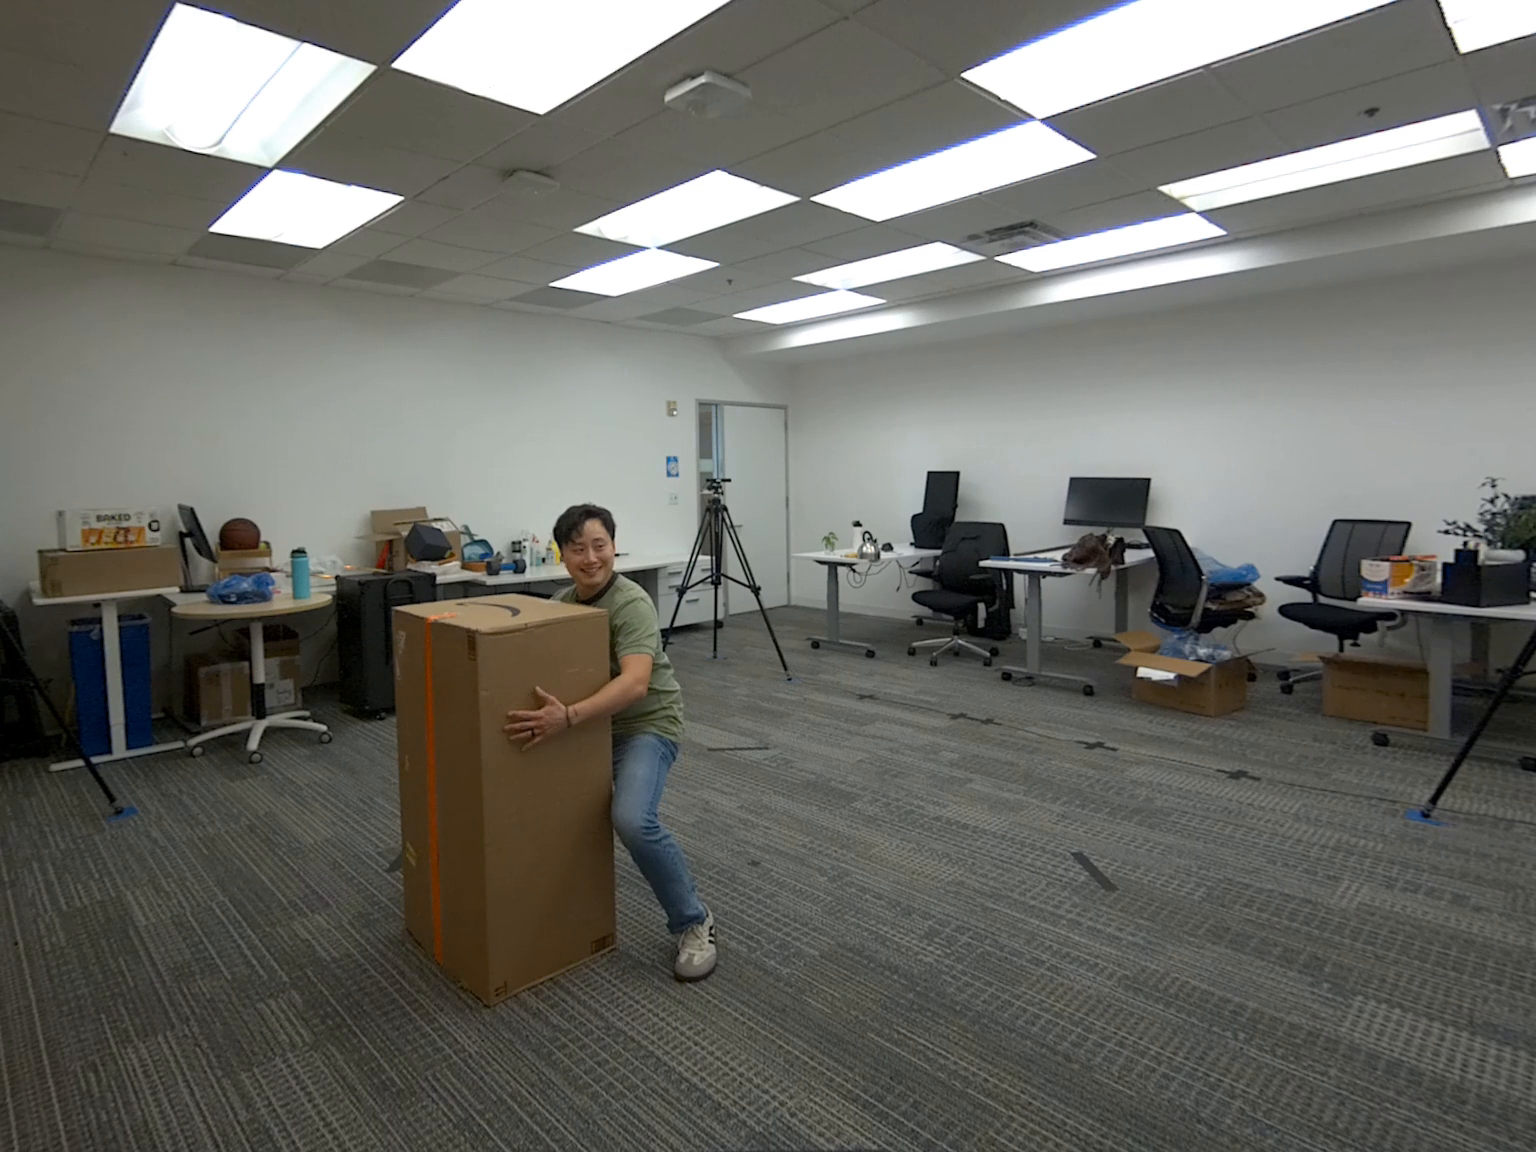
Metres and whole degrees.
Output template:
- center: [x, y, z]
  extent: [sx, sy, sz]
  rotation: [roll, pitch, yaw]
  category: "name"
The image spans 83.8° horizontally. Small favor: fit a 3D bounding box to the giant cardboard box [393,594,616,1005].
- center: [-0.808, 0.611, 2.592]
  extent: [0.415, 1.021, 0.595]
  rotation: [-6, 6, -43]
  category: "giant cardboard box"
